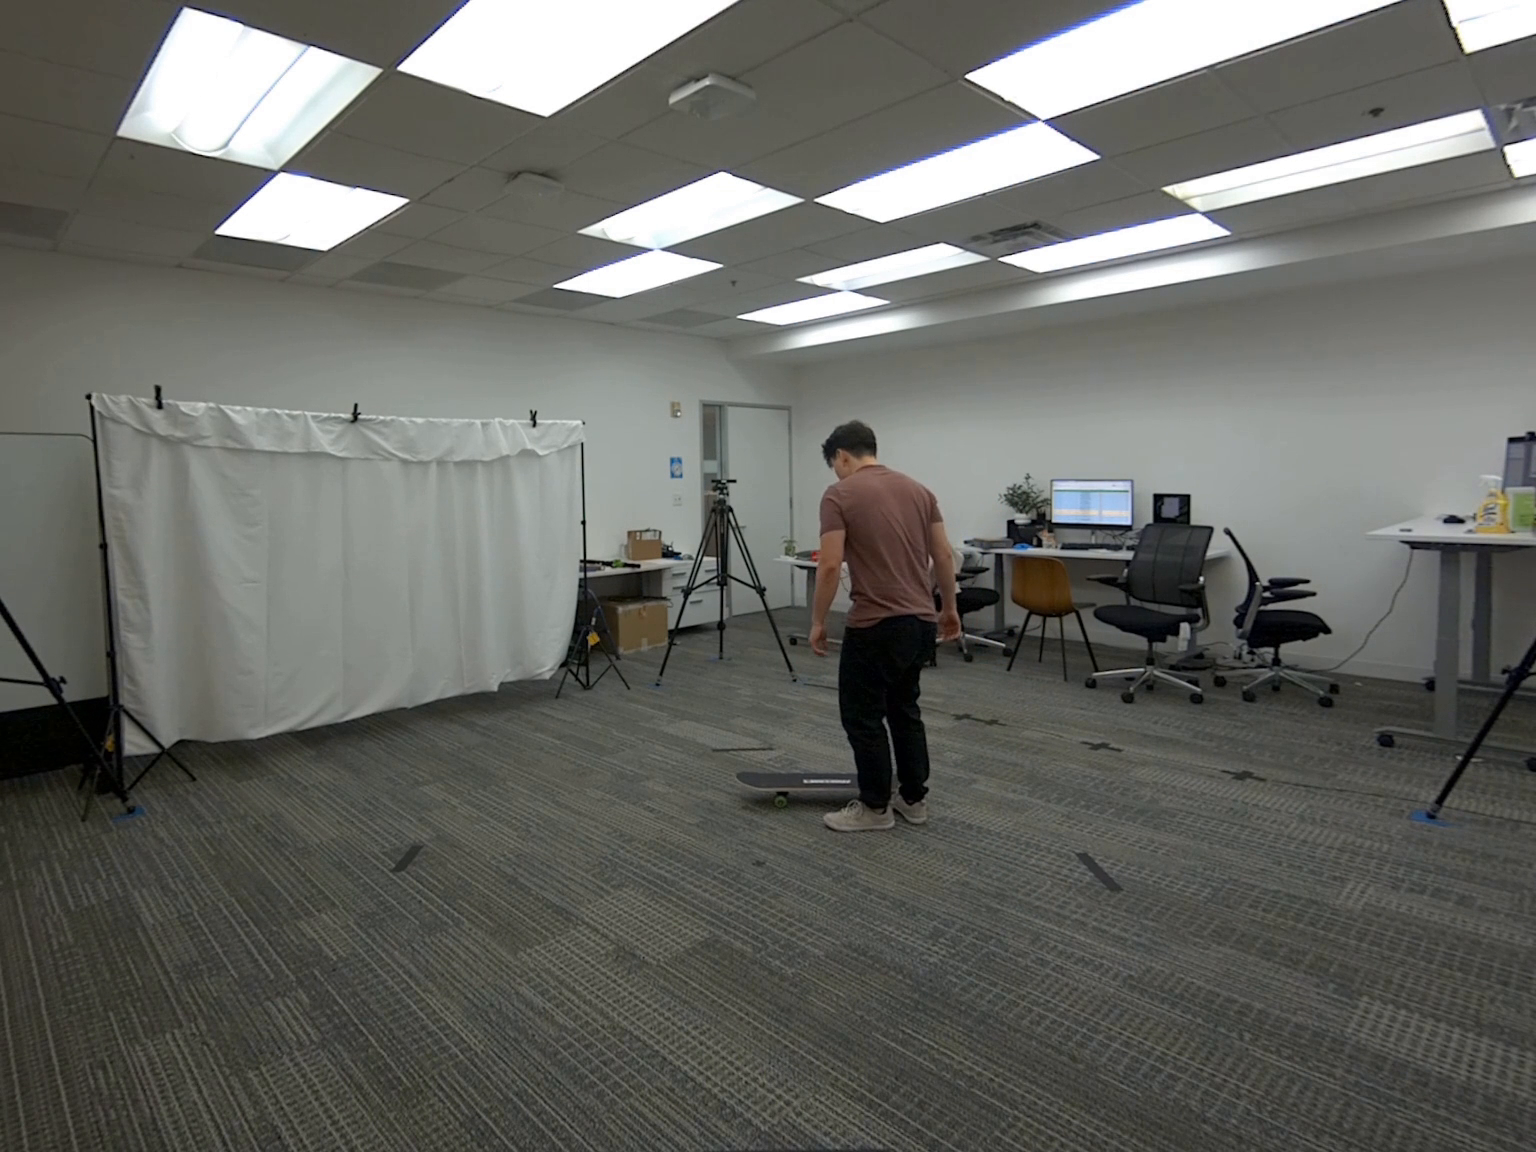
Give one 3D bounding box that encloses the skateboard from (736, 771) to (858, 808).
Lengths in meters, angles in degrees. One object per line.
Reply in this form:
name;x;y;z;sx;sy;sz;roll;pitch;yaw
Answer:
skateboard;0.249;0.918;3.701;0.788;0.110;0.194;0;6;3
